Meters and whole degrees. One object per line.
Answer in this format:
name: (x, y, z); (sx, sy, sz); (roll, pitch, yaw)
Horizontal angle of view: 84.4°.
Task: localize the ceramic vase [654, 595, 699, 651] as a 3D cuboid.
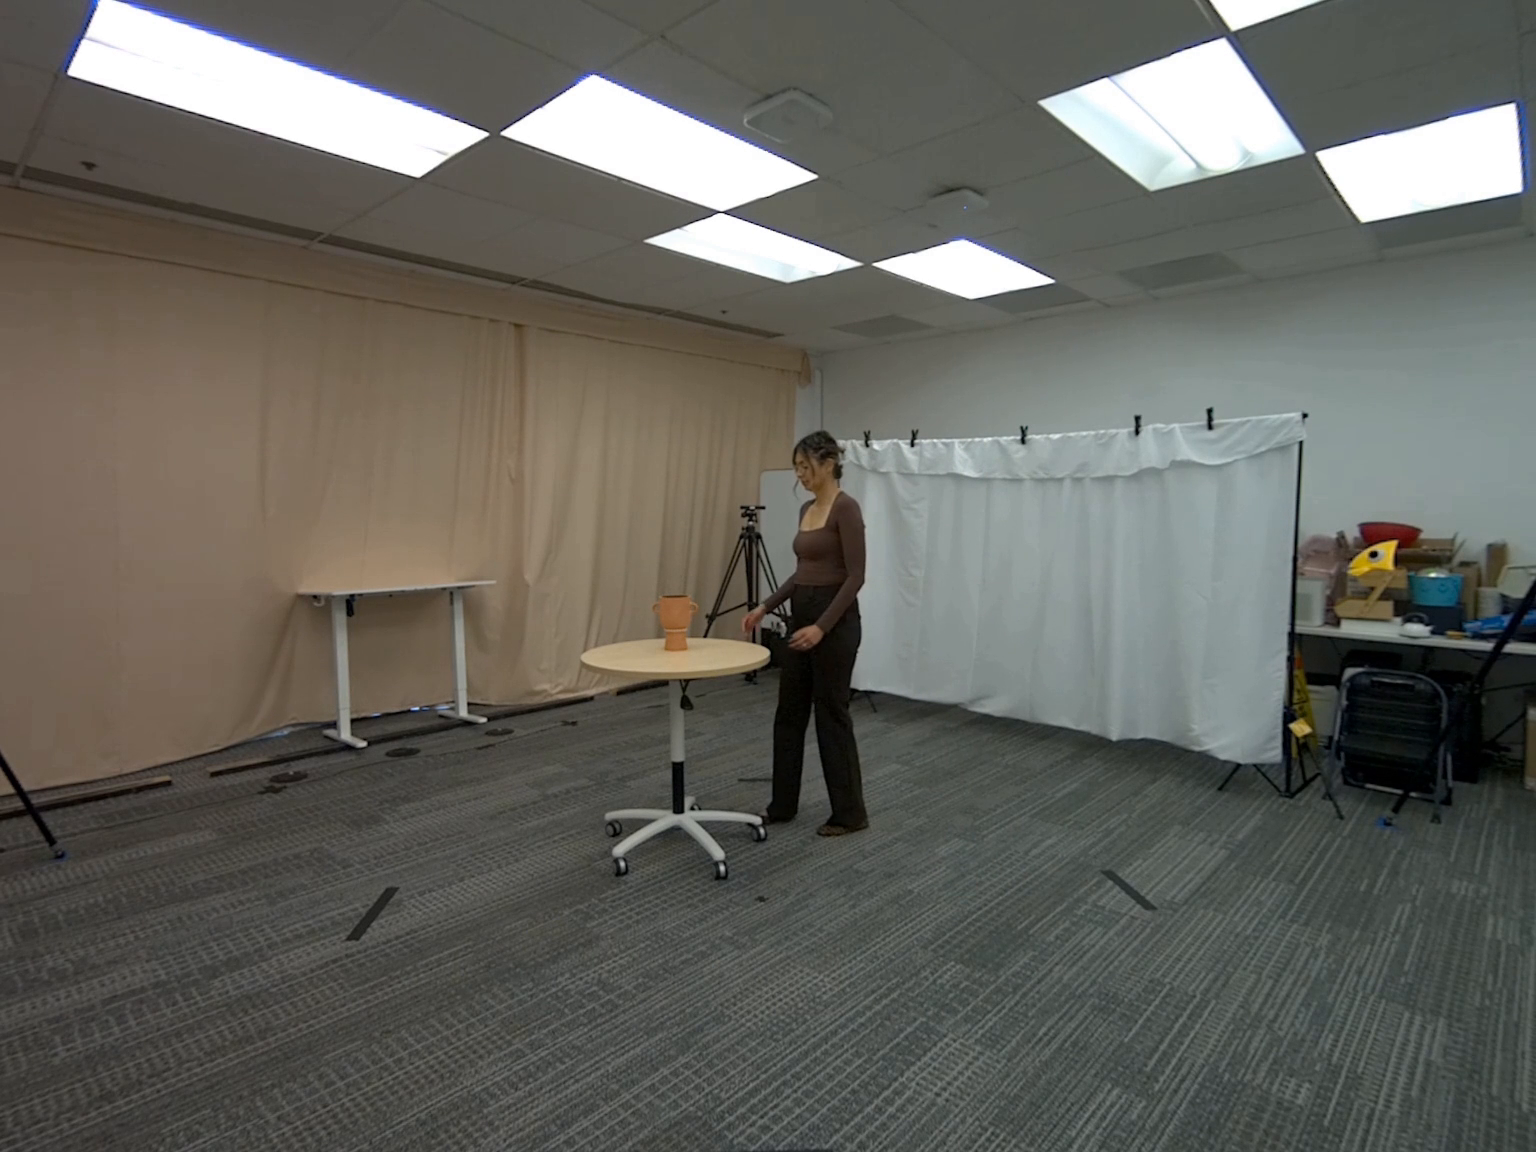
ceramic vase: (-0.396, 0.197, 3.518); (0.130, 0.219, 0.164); (-3, 5, -42)
